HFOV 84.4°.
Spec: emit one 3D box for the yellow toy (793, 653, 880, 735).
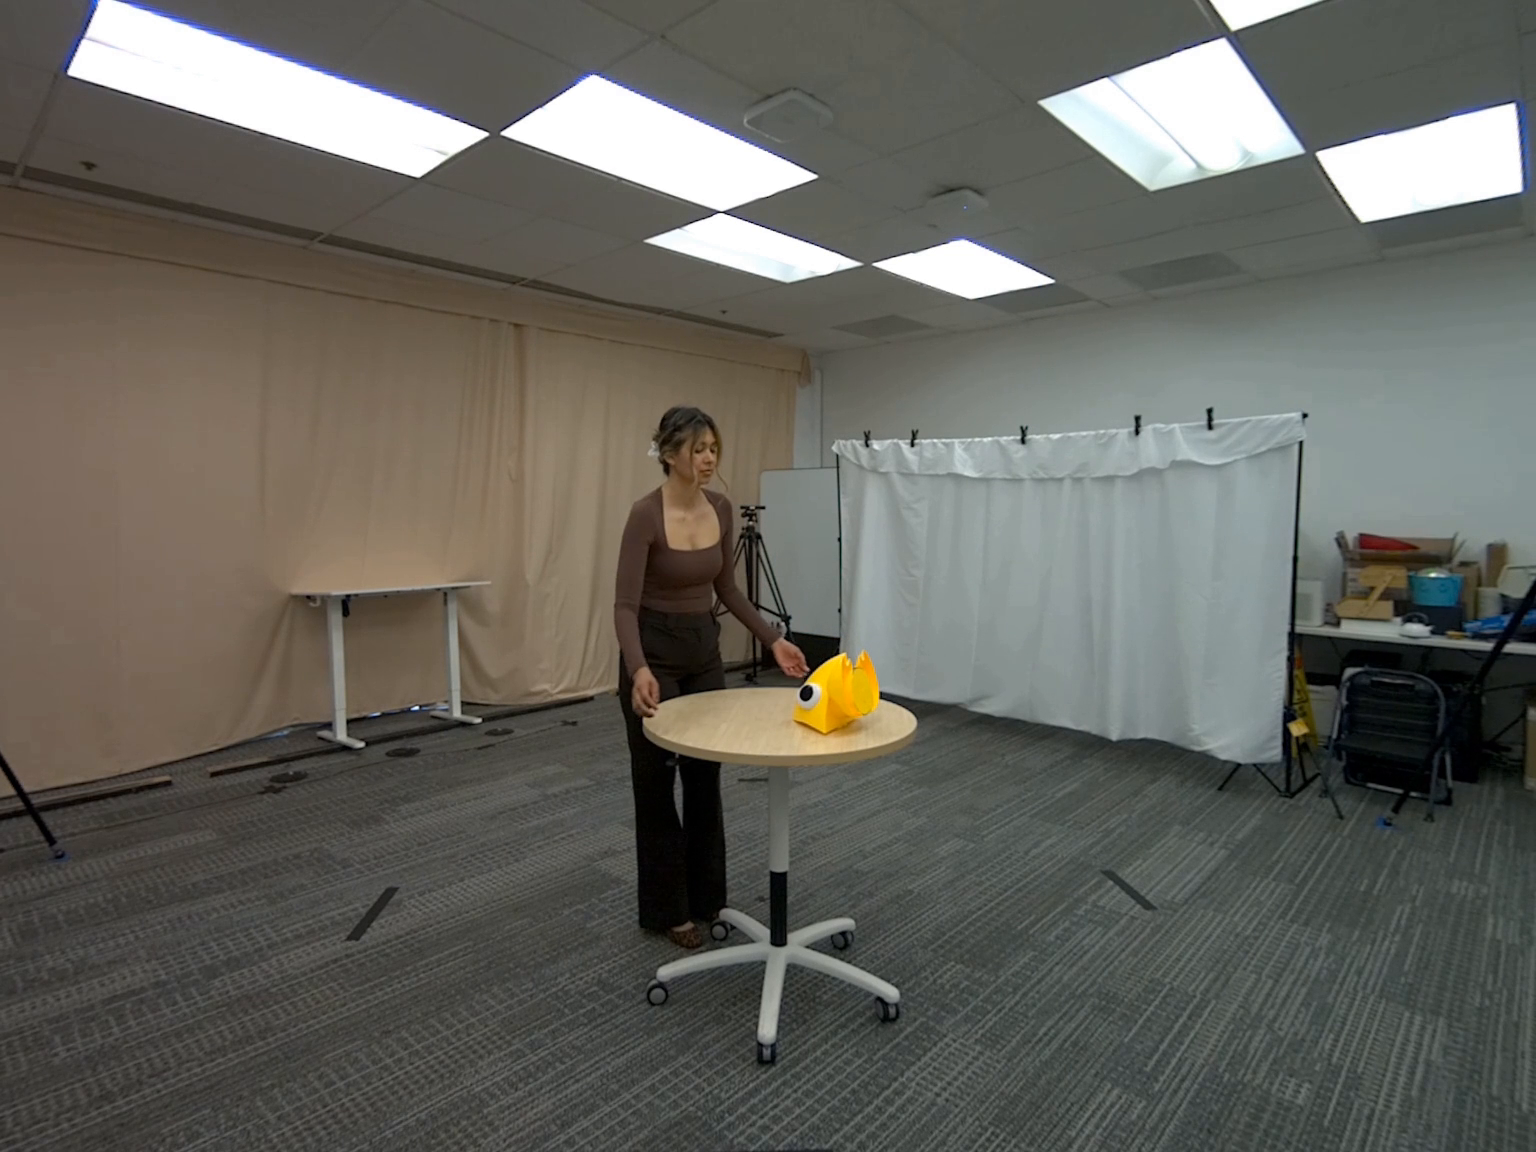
[{"bbox_3d":[0.157,0.319,2.275,0.236,0.194,0.199,-14,-5,33],"label":"yellow toy"}]
